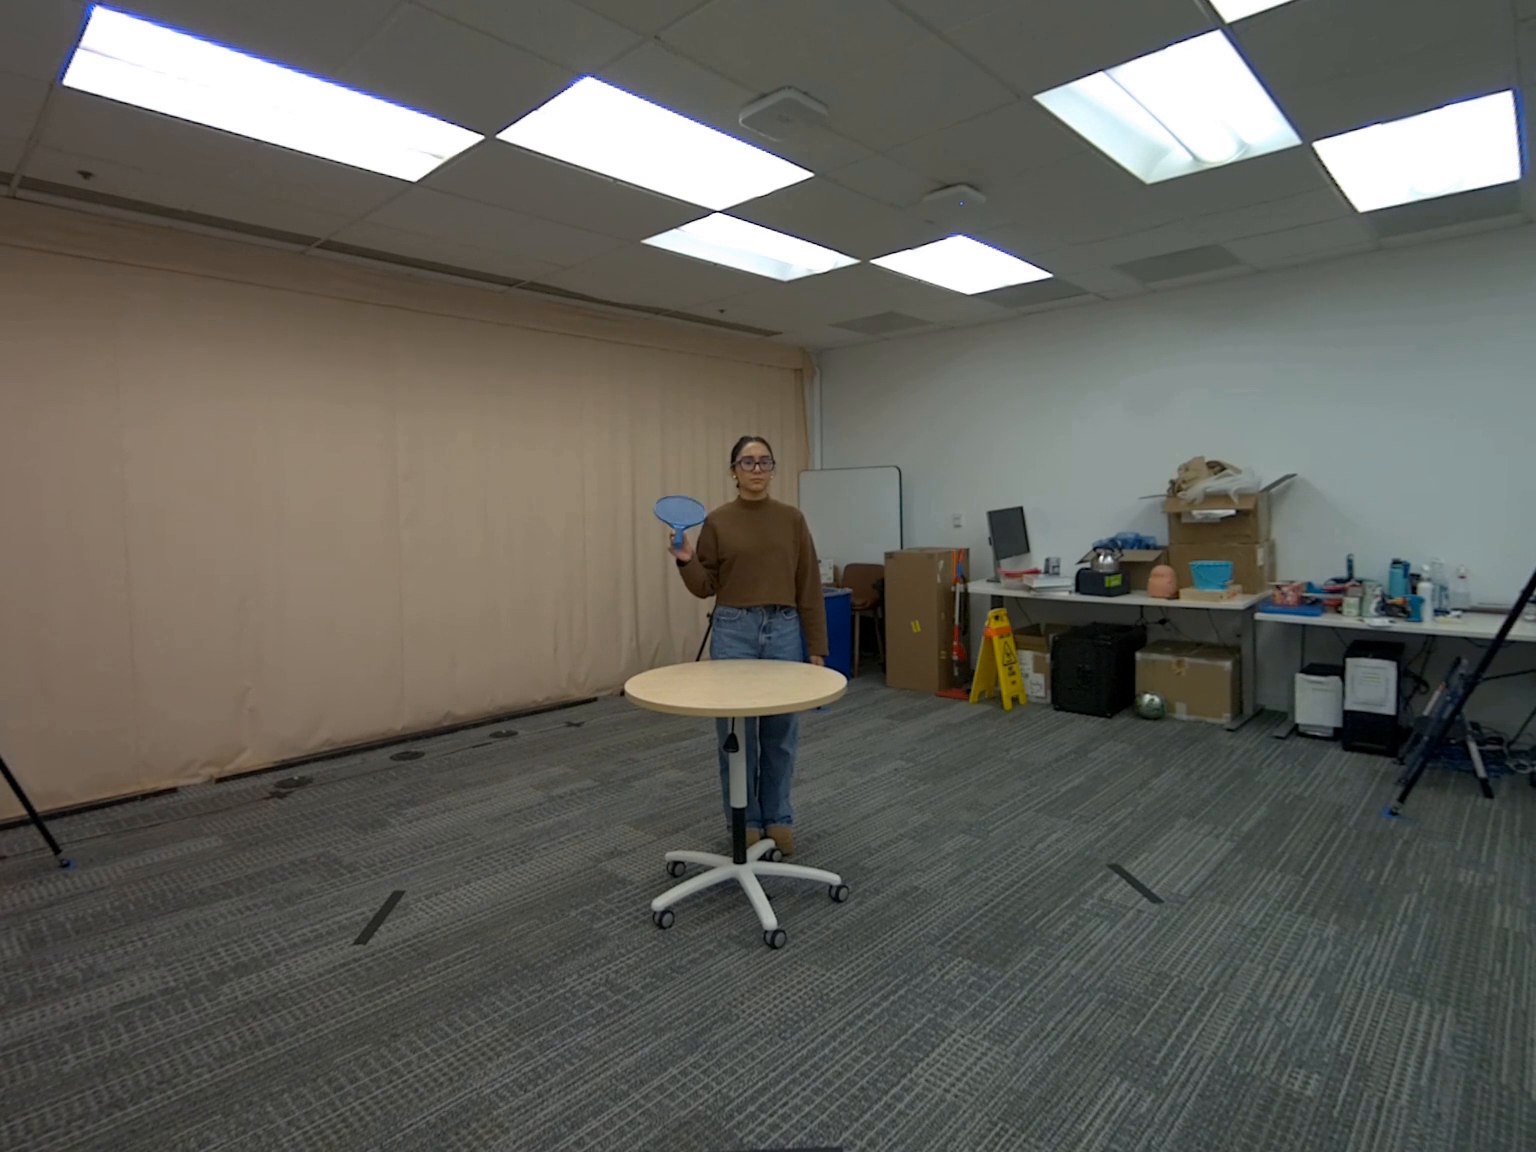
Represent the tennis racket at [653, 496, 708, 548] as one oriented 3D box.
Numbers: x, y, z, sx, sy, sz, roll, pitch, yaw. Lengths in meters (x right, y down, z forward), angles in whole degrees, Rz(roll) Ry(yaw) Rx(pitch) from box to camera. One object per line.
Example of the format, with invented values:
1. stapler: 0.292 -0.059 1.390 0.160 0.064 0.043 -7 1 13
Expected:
1. tennis racket: -0.333 -0.205 3.253 0.213 0.031 0.439 7 29 -3
